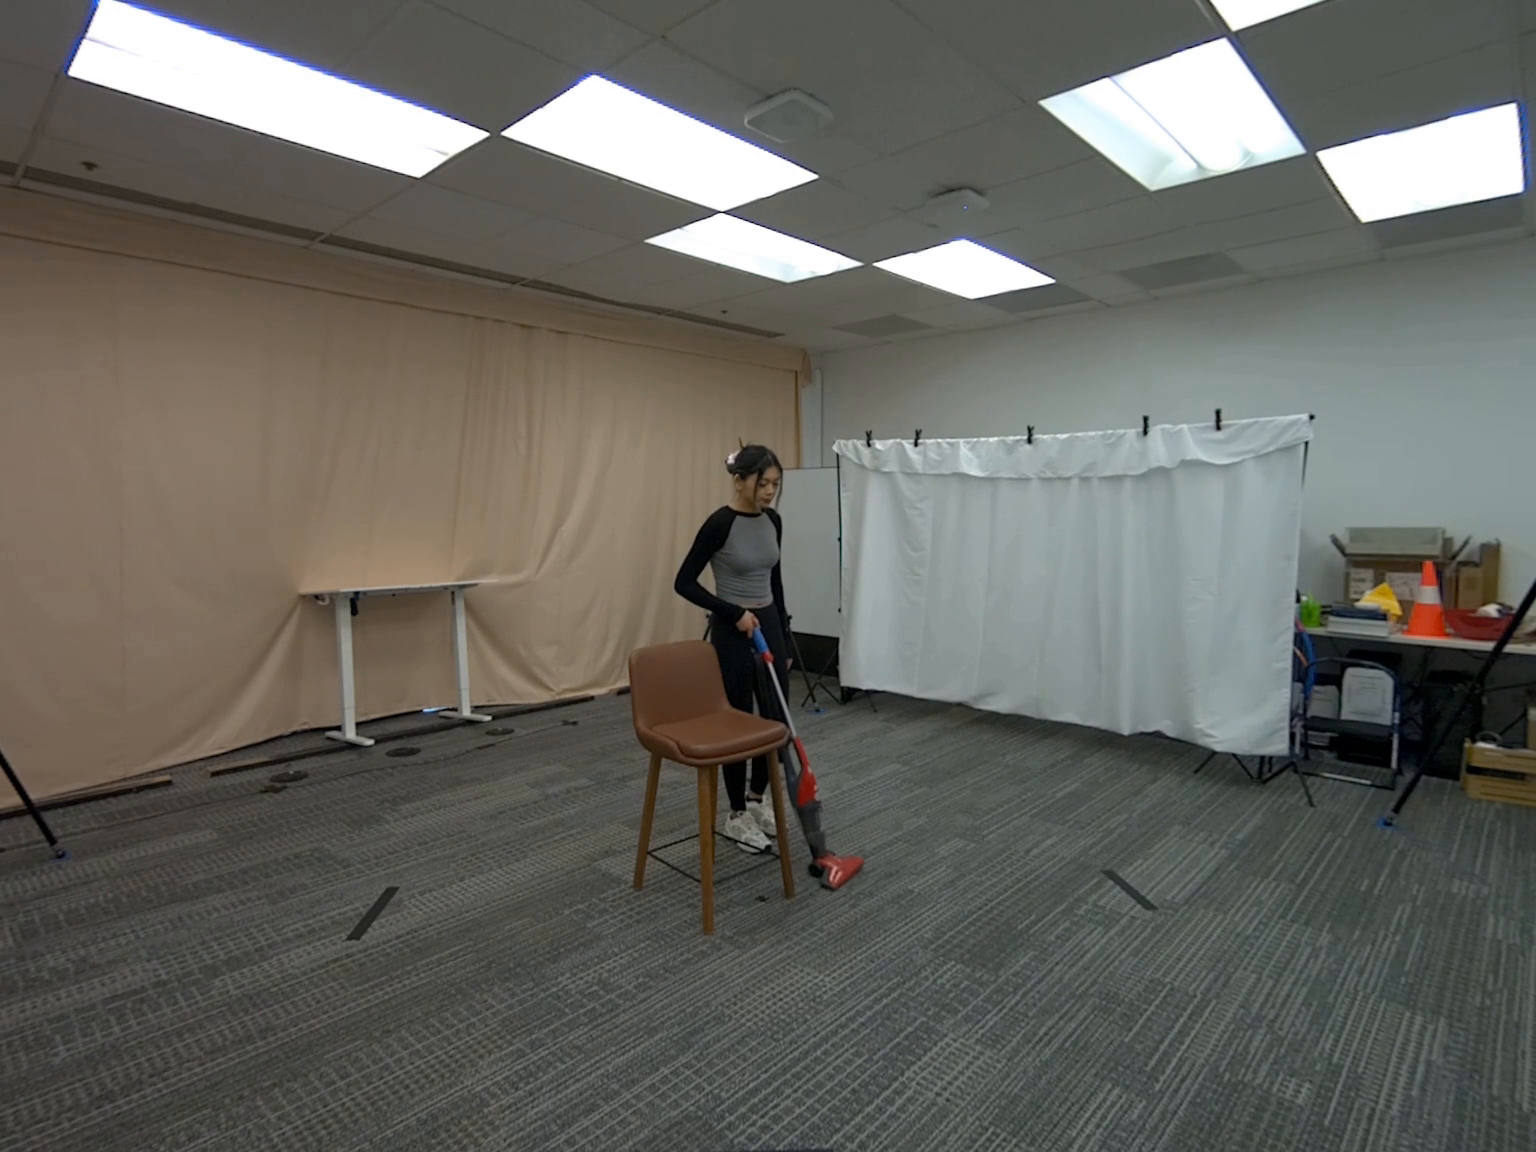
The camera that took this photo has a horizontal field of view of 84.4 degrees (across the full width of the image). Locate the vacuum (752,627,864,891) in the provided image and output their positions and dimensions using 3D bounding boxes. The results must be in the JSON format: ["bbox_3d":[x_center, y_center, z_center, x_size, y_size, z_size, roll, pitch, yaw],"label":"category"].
[{"bbox_3d":[0.091,0.628,3.229,0.147,1.055,0.246,-22,-6,32],"label":"vacuum"}]
